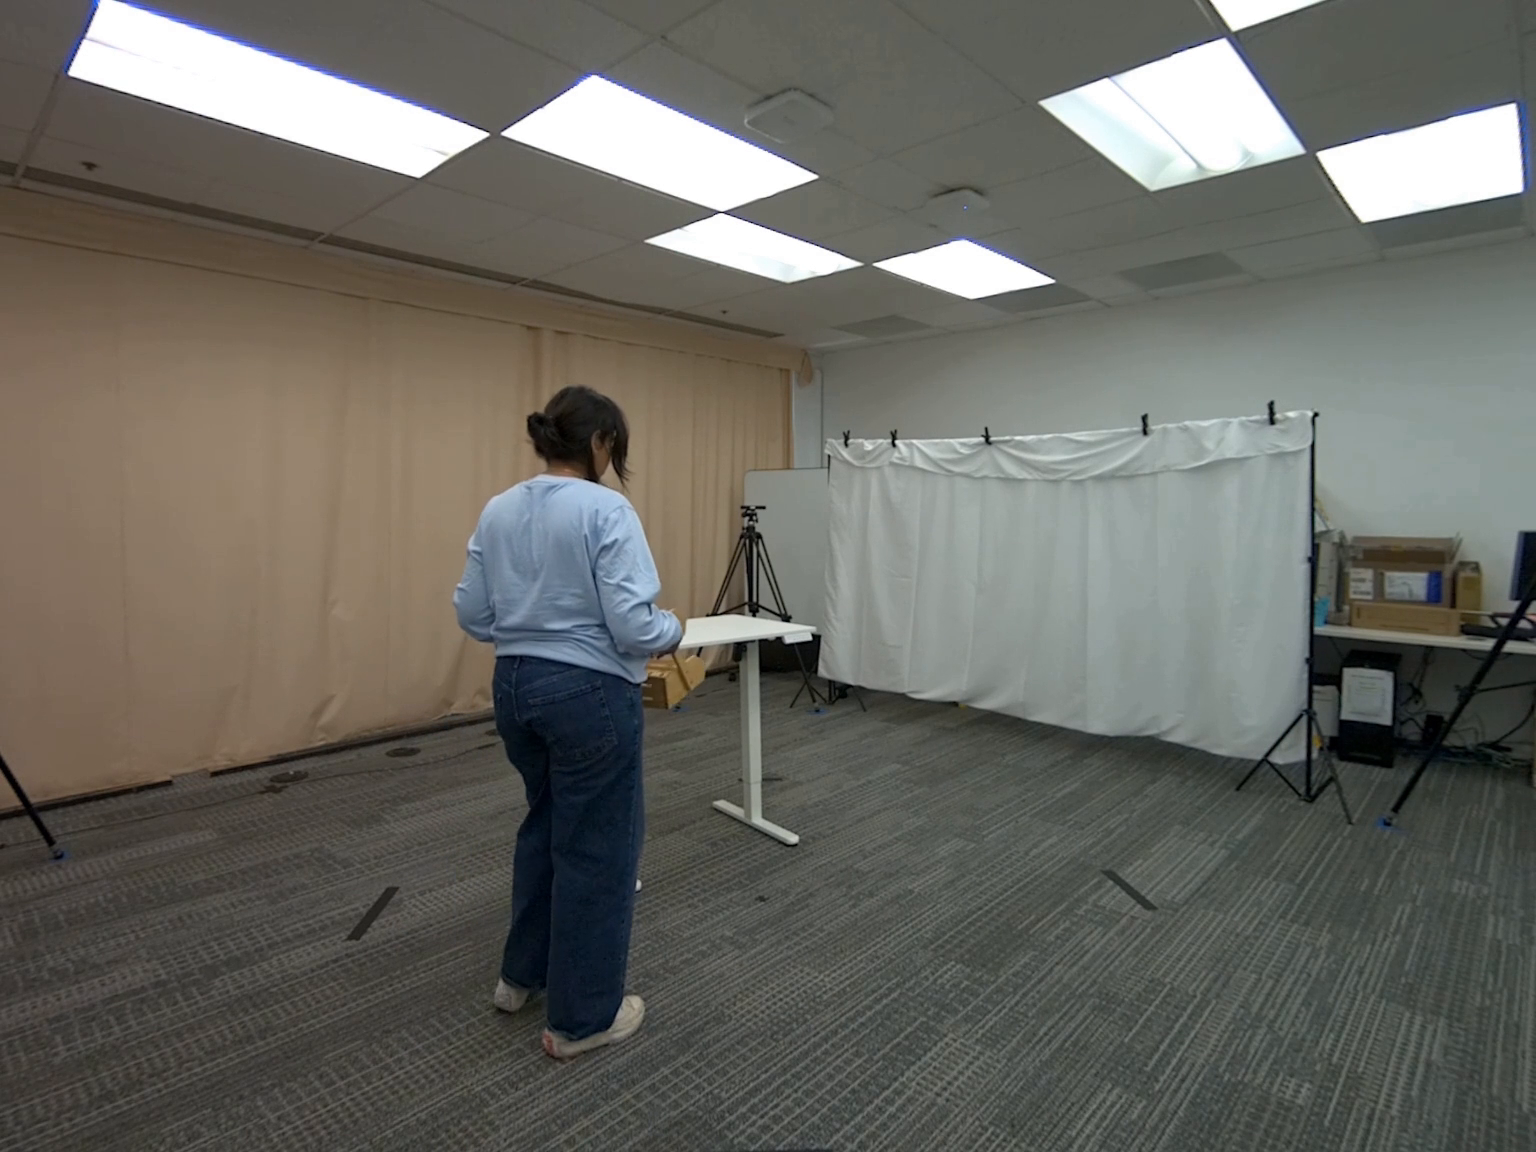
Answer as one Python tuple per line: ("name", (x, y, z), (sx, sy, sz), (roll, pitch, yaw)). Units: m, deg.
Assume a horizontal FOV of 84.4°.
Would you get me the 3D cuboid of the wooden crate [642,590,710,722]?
("wooden crate", (-0.395, 0.213, 2.421), (0.333, 0.271, 0.297), (0, 14, 25))
